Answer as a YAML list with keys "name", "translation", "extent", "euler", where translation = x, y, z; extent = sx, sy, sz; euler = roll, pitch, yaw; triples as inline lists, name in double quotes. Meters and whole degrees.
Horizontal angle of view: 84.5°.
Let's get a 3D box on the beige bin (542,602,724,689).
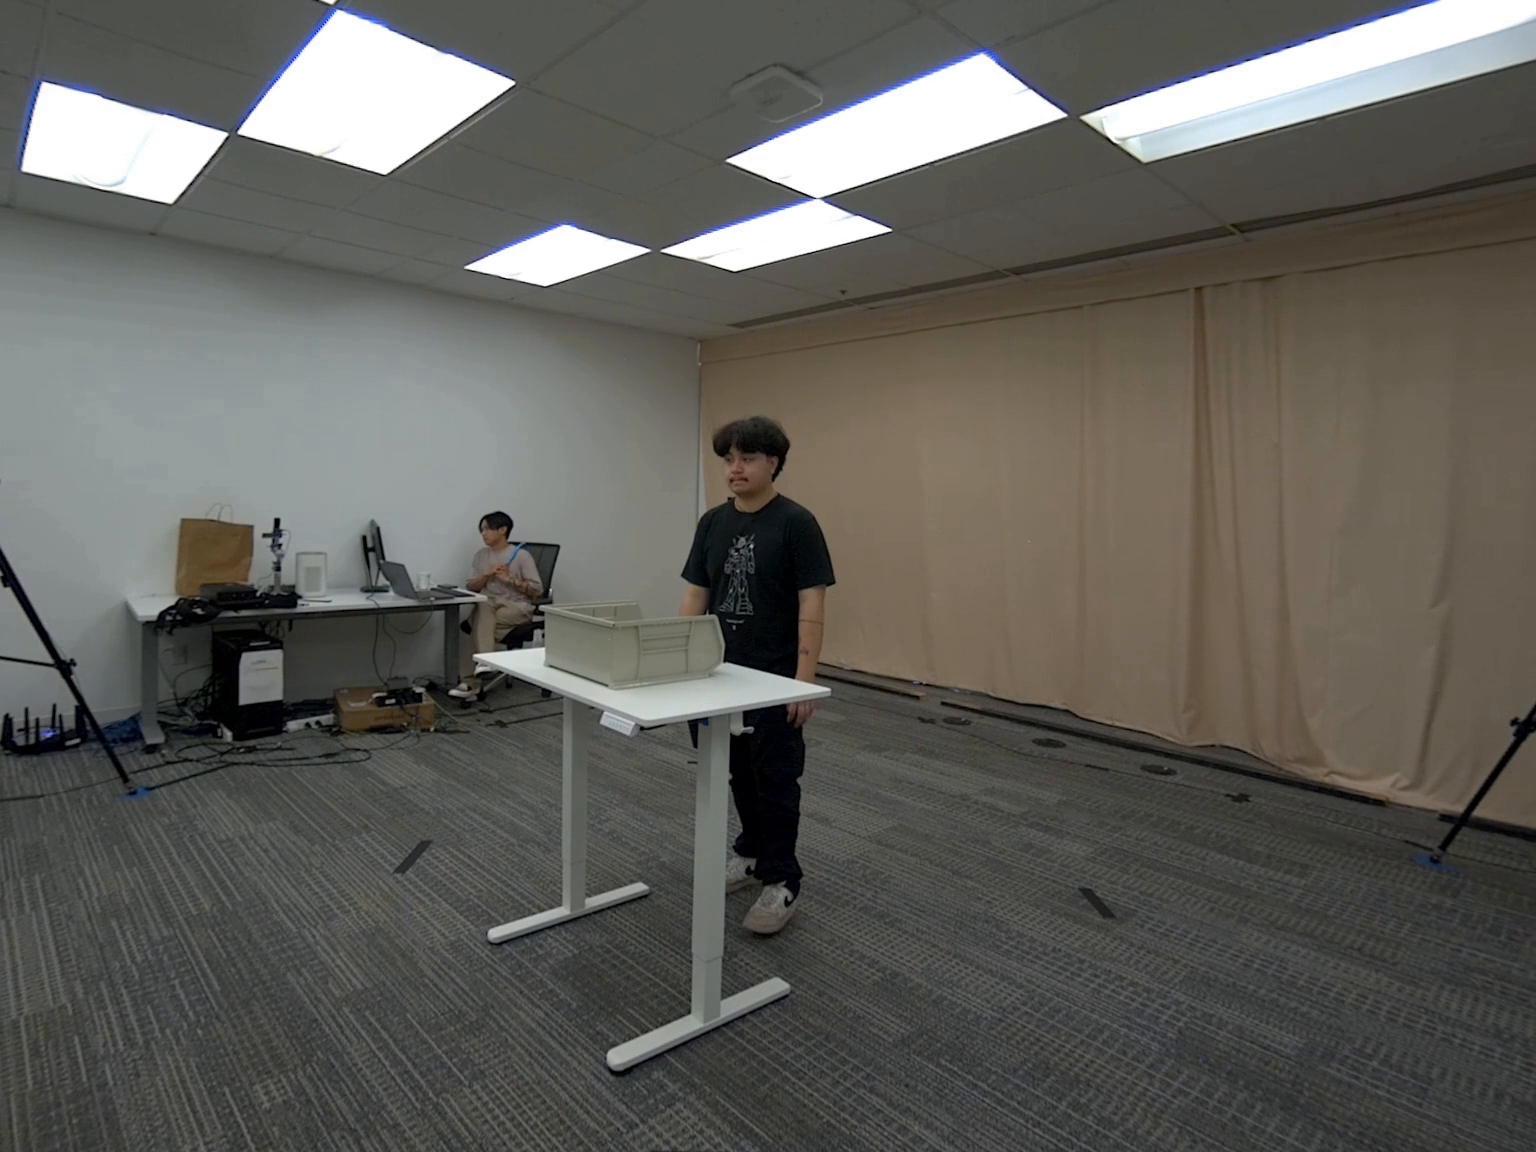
- name: "beige bin"
  translation: [-0.411, 0.194, 2.454]
  extent: [0.369, 0.188, 0.433]
  euler: [-3, 6, -39]
